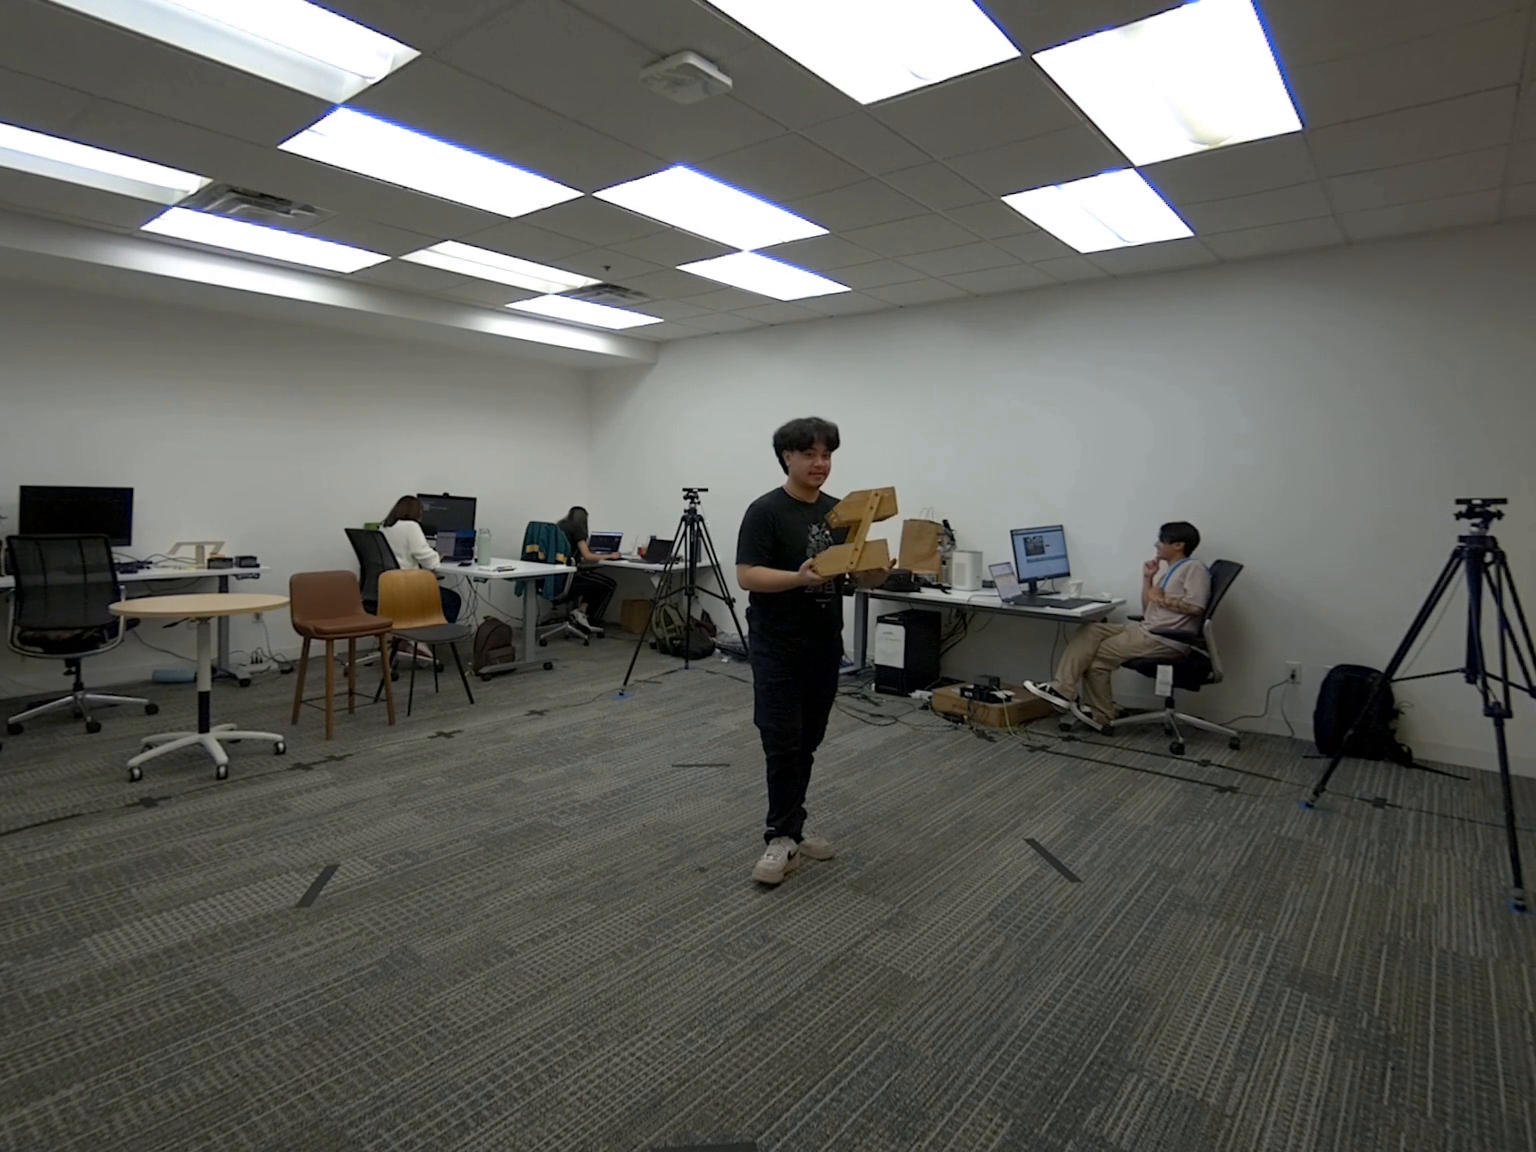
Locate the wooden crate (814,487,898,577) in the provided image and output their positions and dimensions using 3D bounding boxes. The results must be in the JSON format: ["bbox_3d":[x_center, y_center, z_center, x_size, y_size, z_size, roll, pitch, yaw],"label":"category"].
[{"bbox_3d":[0.240,-0.155,2.952,0.302,0.274,0.323,-8,-2,-1],"label":"wooden crate"}]
